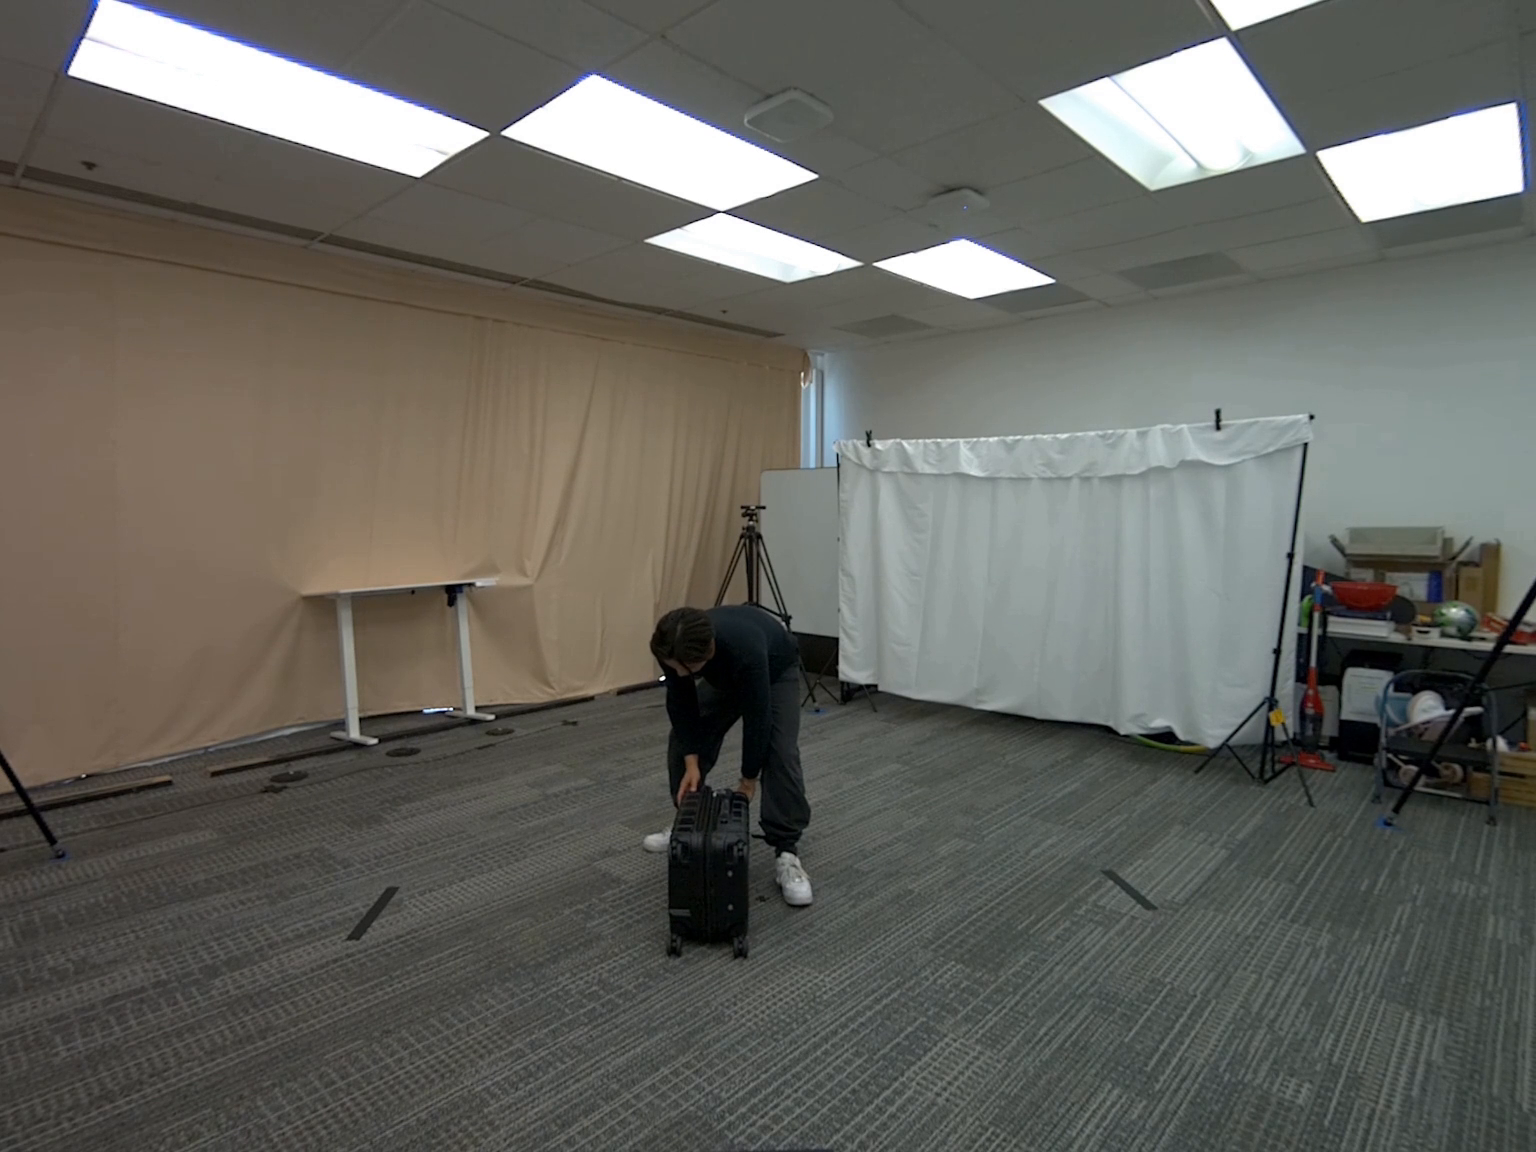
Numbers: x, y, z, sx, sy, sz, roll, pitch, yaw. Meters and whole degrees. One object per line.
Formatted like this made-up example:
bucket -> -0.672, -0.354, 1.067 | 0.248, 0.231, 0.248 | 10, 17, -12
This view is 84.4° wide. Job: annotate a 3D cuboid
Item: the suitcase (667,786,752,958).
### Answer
suitcase -> -0.189, 0.942, 3.065 | 0.257, 0.383, 0.982 | 0, 6, -1
